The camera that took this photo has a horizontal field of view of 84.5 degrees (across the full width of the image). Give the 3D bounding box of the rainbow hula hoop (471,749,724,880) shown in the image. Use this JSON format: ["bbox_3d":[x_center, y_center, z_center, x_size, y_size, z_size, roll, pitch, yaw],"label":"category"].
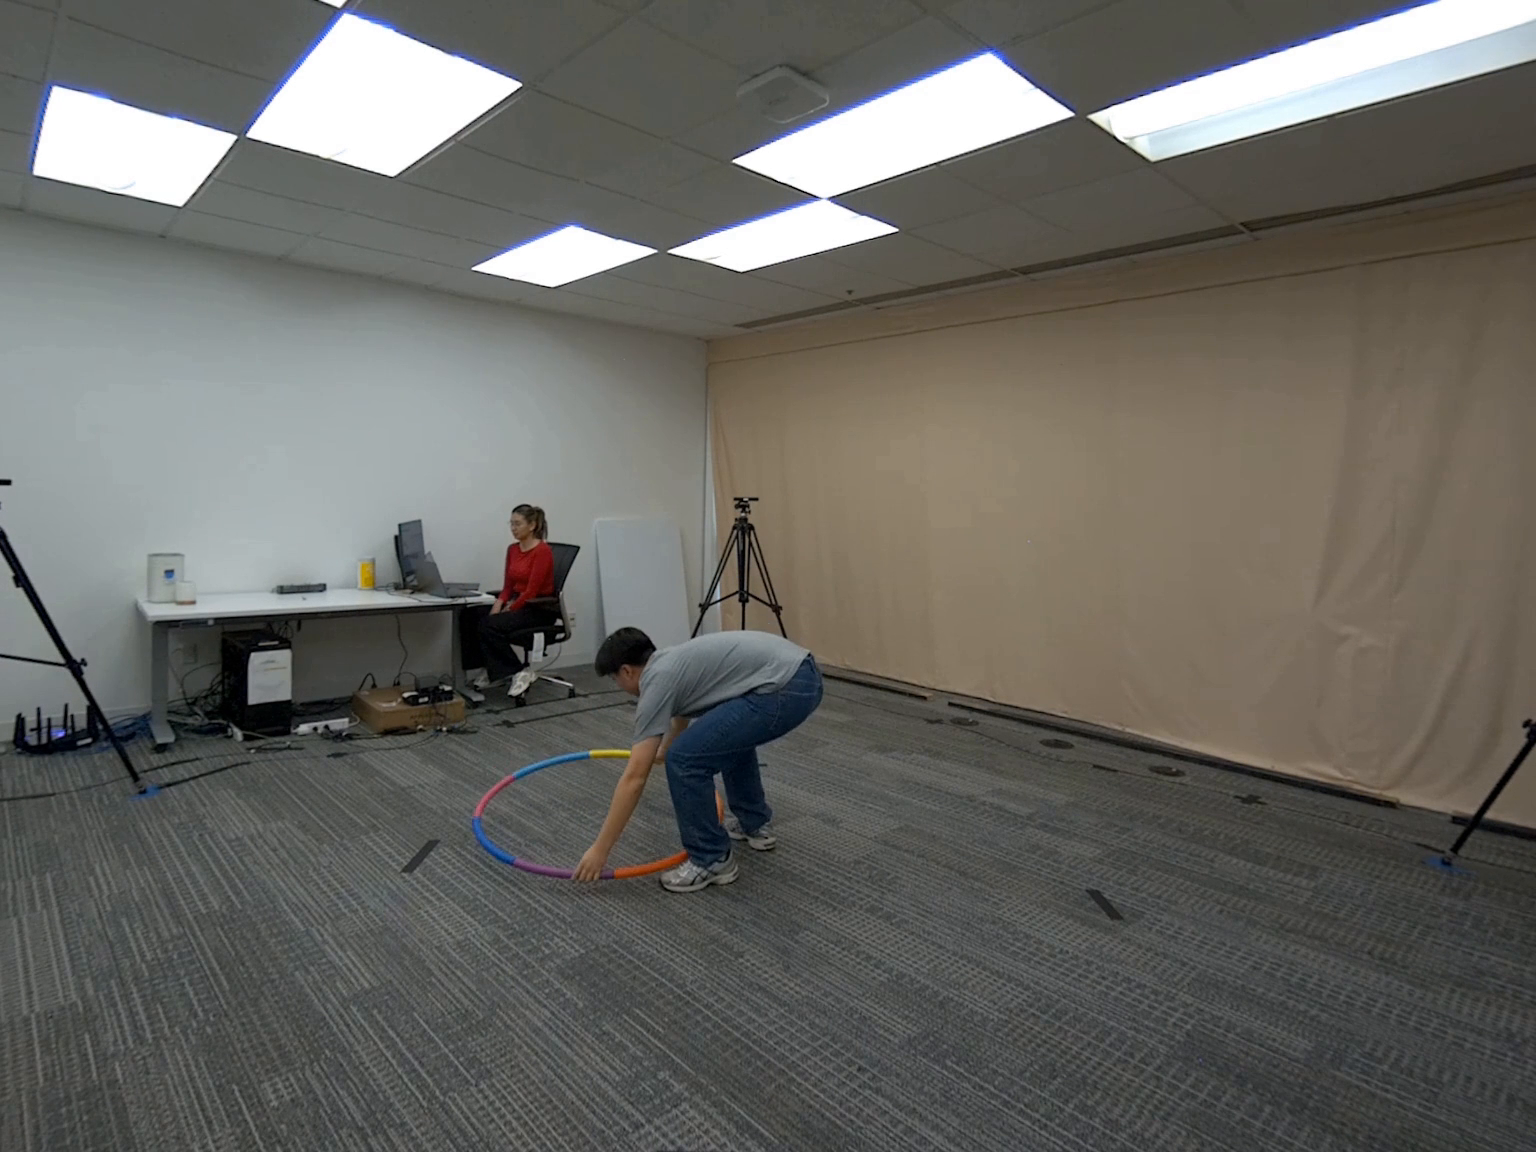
[{"bbox_3d":[-0.691,0.921,3.408,0.978,0.035,0.988,2,14,-2],"label":"rainbow hula hoop"}]
